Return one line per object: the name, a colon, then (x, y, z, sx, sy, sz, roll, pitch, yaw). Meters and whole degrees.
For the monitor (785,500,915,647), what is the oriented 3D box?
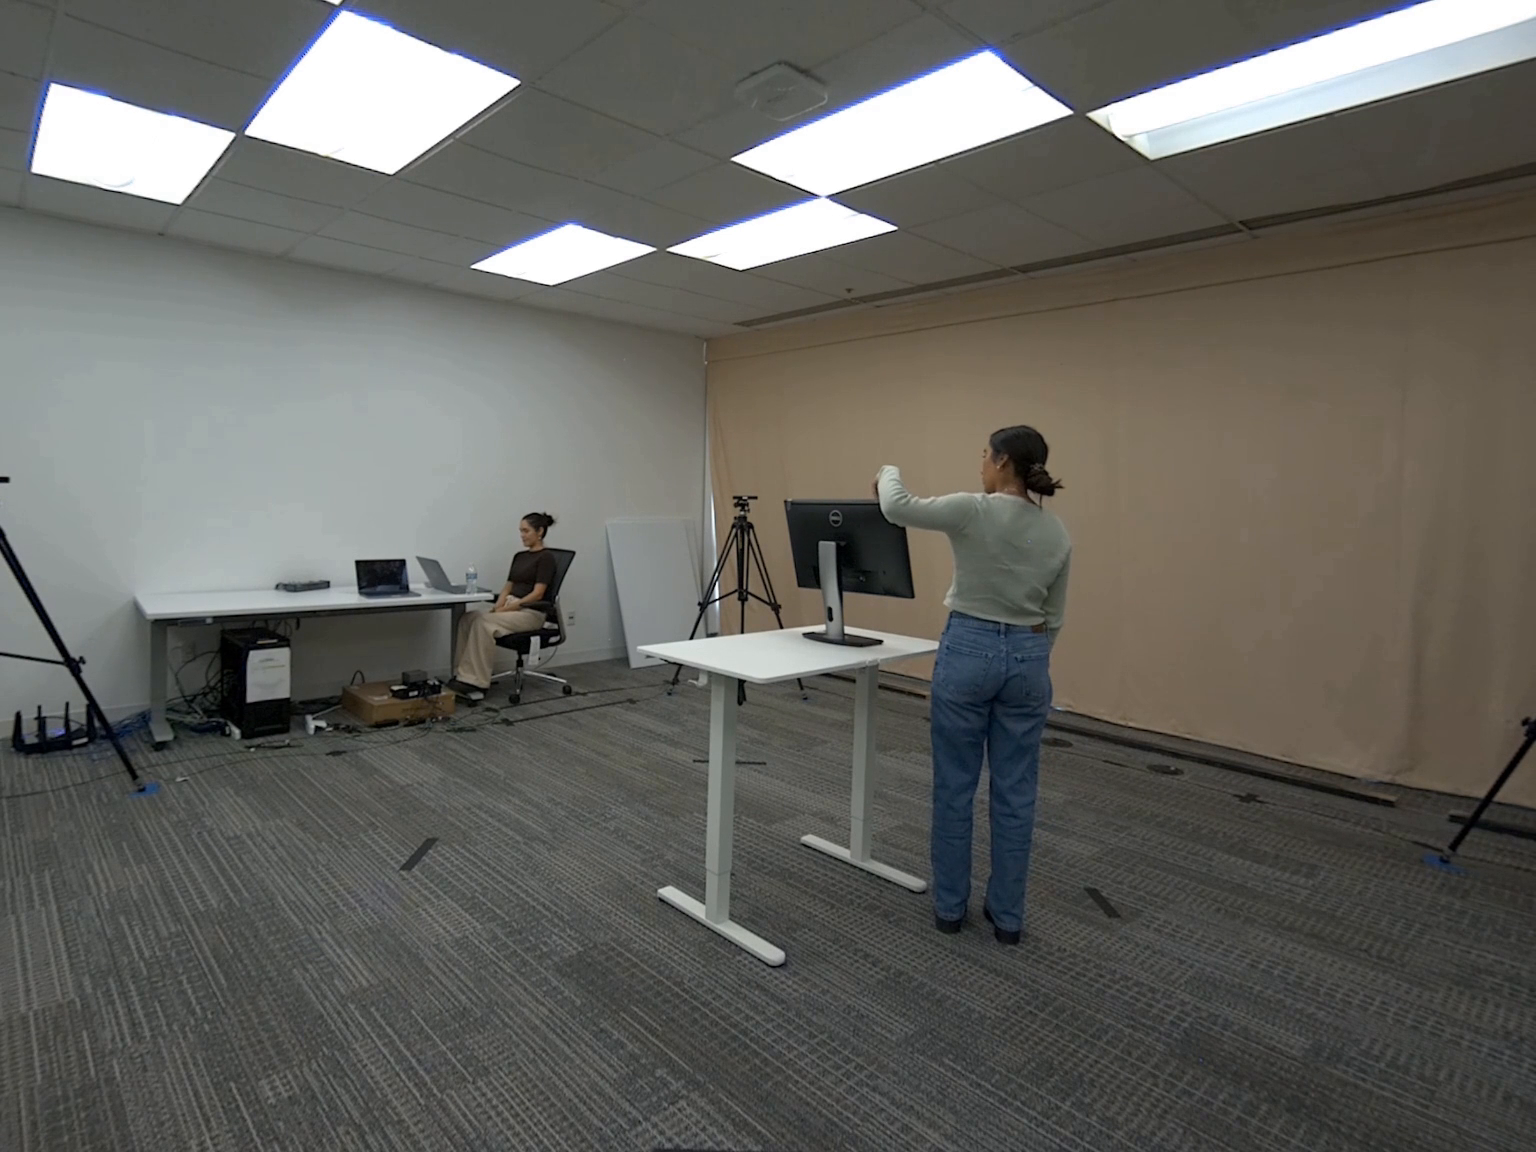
monitor: (0.257, -0.014, 3.043, 0.553, 0.521, 0.183, 5, 7, 44)
